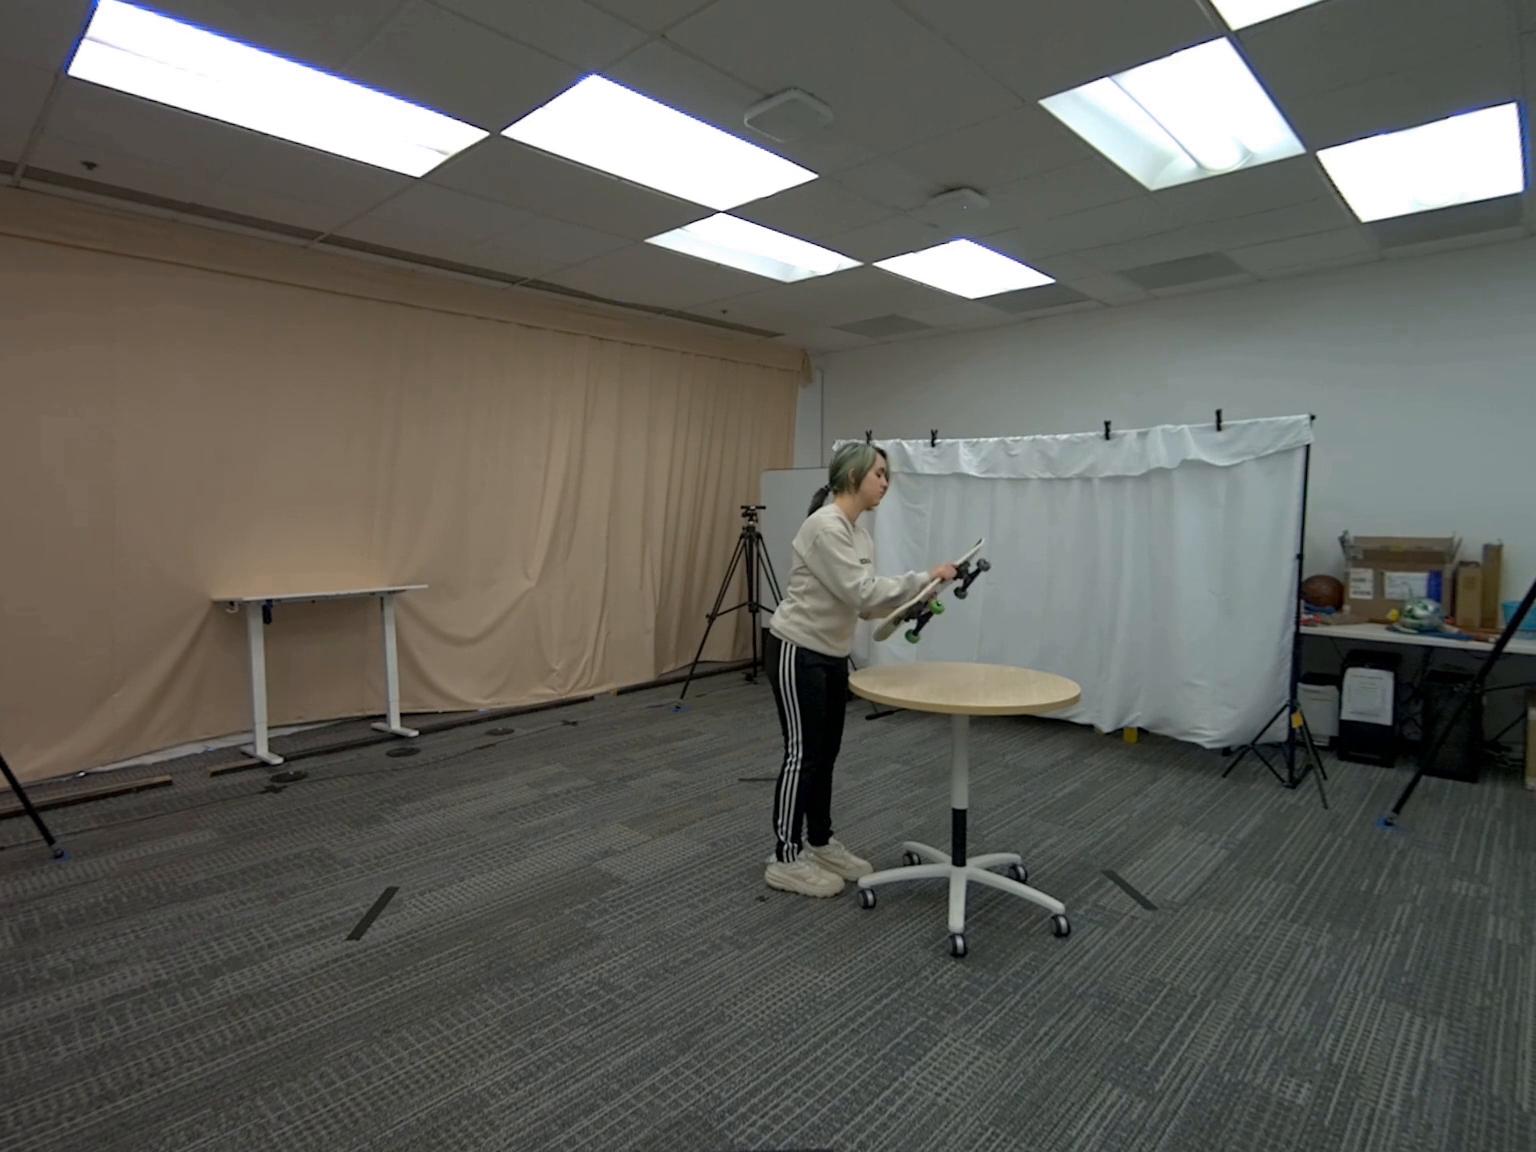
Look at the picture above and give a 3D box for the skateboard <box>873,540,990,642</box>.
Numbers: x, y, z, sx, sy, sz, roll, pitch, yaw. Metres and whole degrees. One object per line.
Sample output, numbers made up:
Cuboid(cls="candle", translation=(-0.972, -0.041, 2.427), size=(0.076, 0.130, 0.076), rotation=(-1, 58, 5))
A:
Cuboid(cls="skateboard", translation=(0.614, 0.063, 2.940), size=(0.113, 0.193, 0.771), rotation=(40, 40, 17))
